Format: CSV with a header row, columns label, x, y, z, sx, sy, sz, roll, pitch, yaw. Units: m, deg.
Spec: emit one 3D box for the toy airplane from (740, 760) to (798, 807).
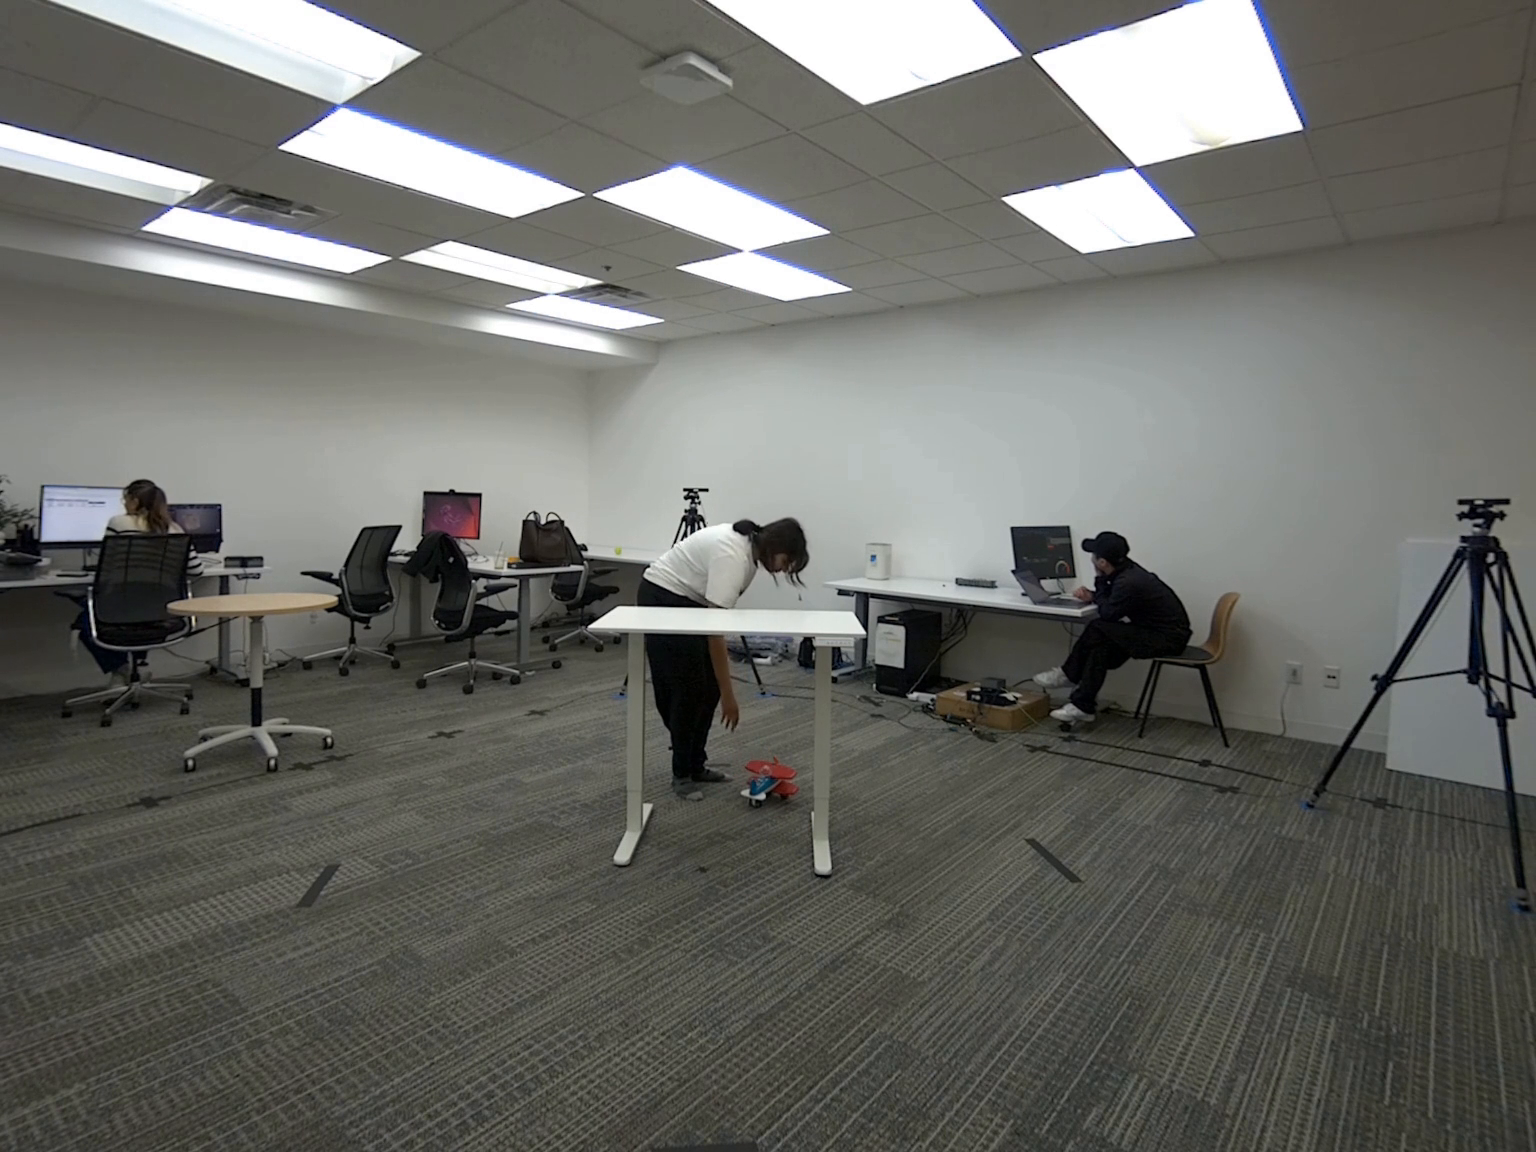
label,x,y,z,sx,sy,sz,roll,pitch,yaw
toy airplane,0.003,0.934,3.806,0.253,0.156,0.257,2,3,7
